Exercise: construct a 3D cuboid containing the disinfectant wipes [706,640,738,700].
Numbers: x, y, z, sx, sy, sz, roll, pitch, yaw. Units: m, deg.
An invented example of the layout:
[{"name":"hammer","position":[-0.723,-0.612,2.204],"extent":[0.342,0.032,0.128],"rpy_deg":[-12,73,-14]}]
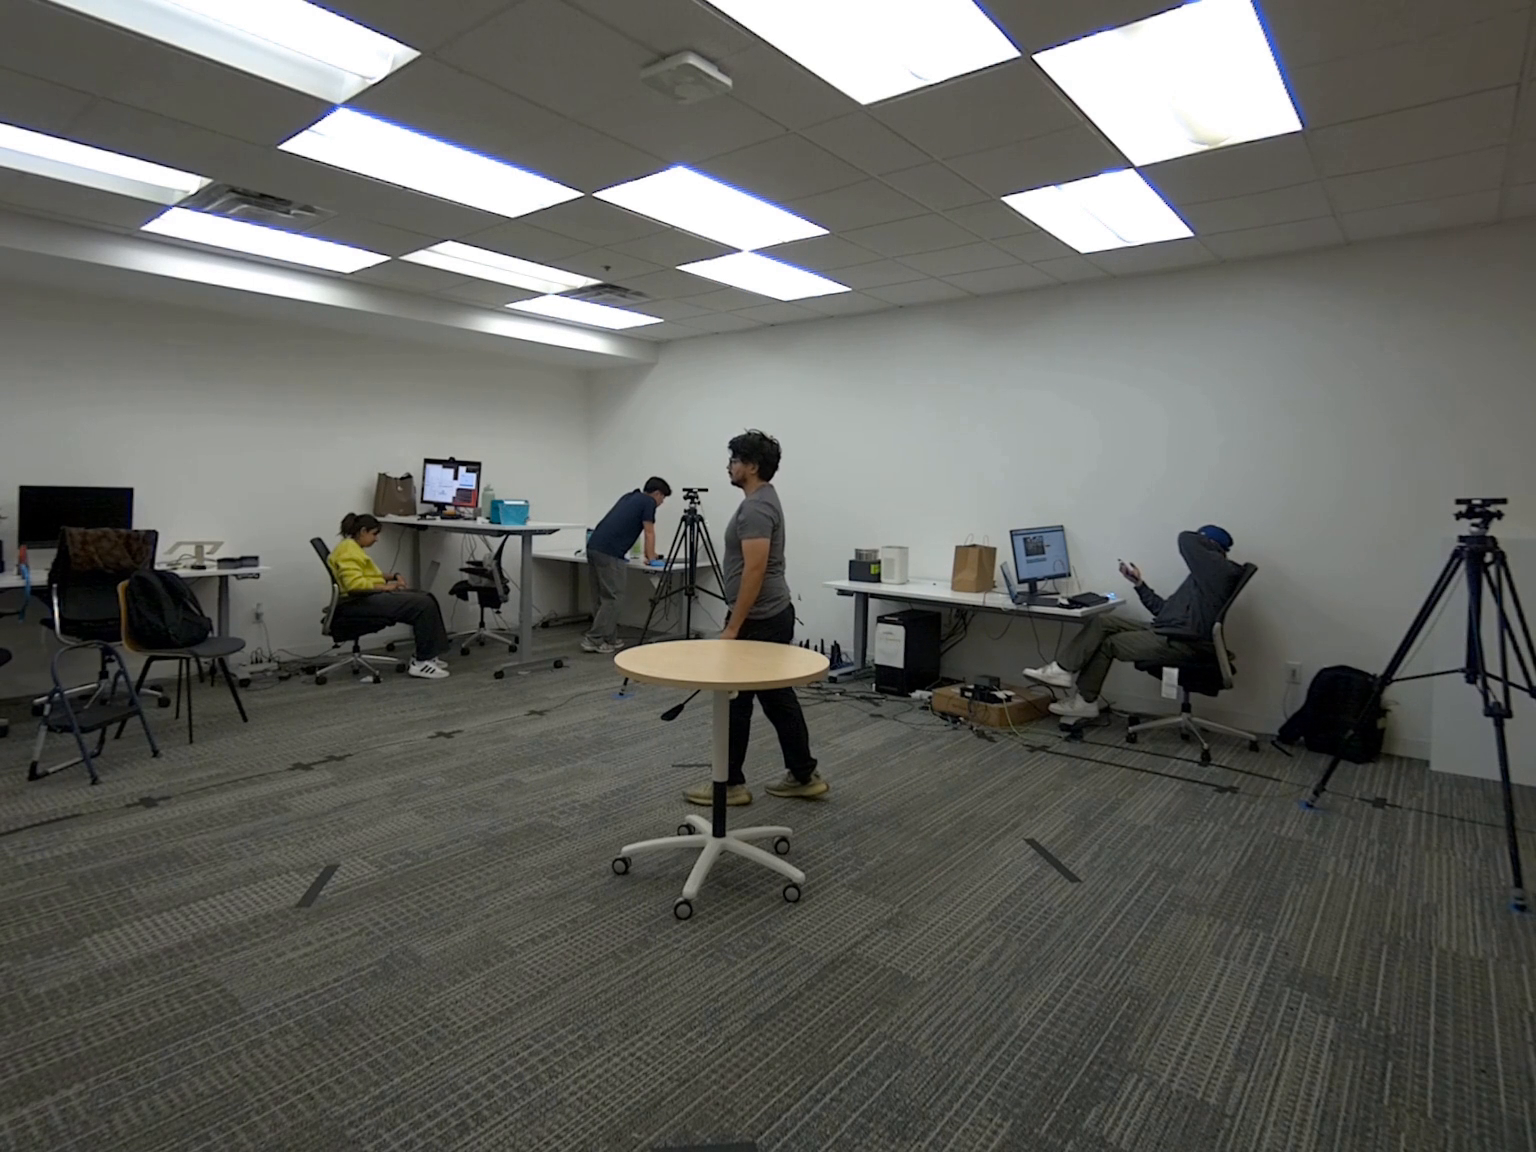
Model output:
[{"name":"disinfectant wipes","position":[-0.197,0.395,3.556],"extent":[0.118,0.215,0.119],"rpy_deg":[-2,10,-1]}]
